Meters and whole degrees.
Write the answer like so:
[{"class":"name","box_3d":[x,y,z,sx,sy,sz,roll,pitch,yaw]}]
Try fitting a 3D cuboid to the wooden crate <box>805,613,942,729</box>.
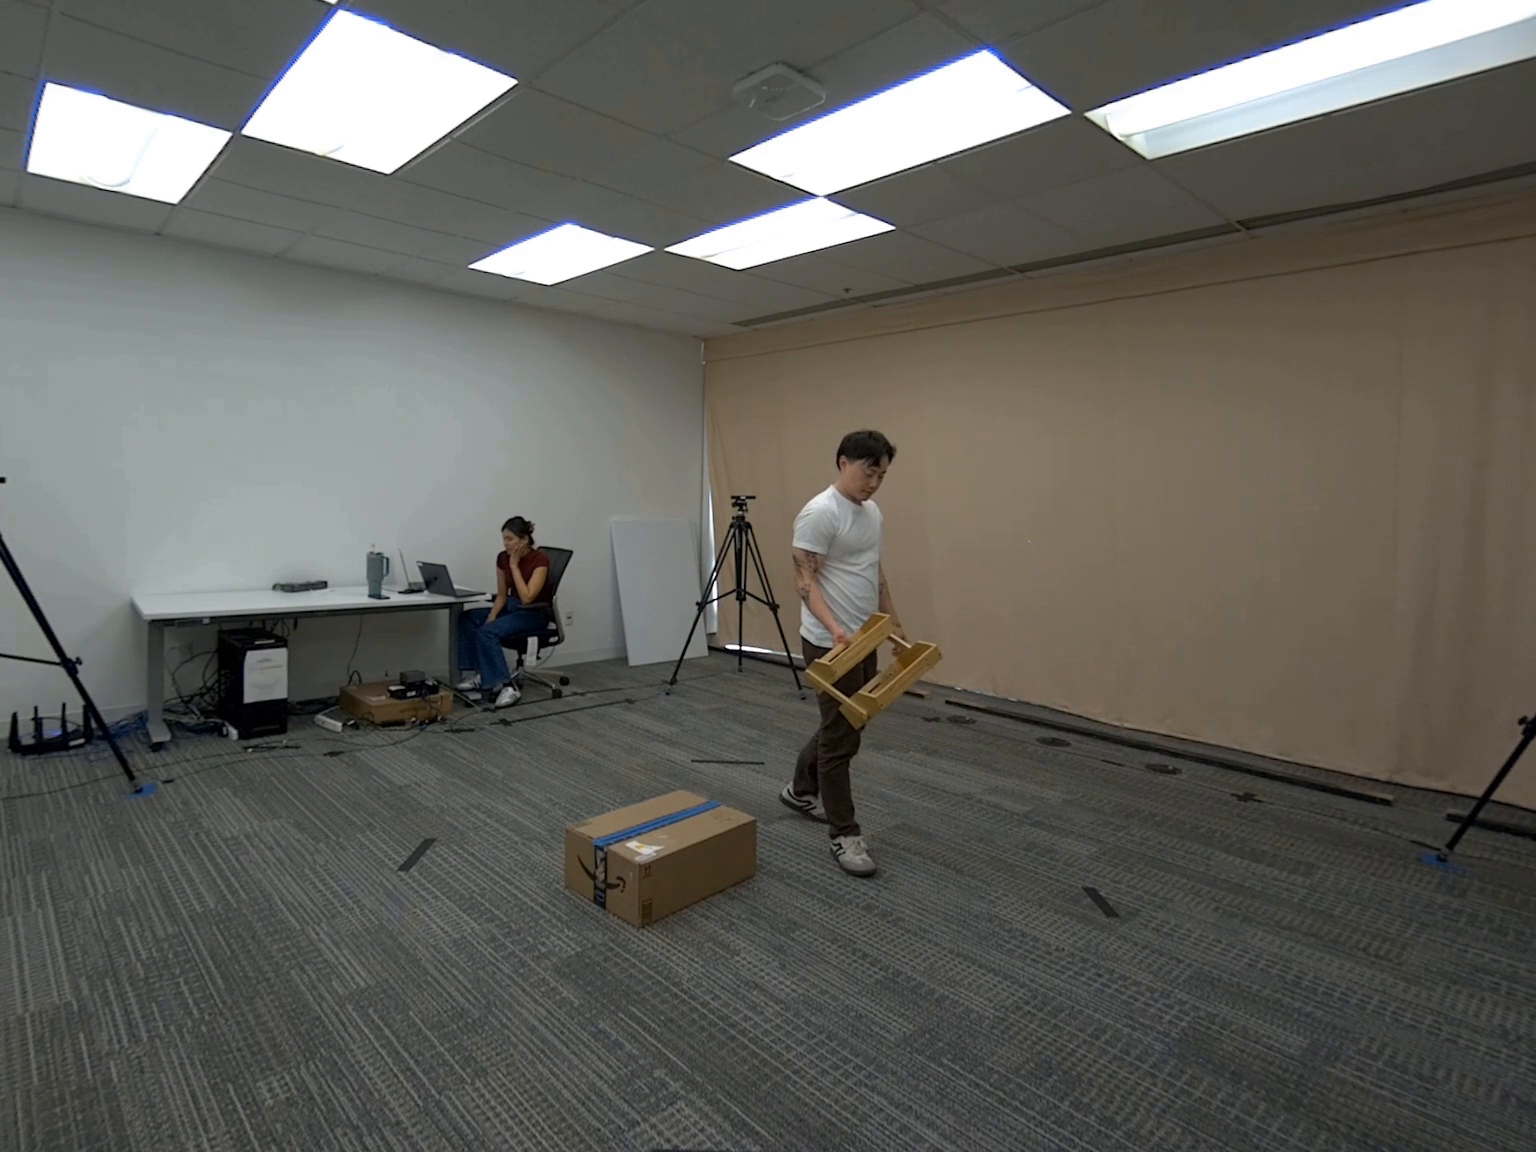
[{"class":"wooden crate","box_3d":[0.333,0.295,2.824,0.322,0.277,0.300,-34,-13,-27]}]
